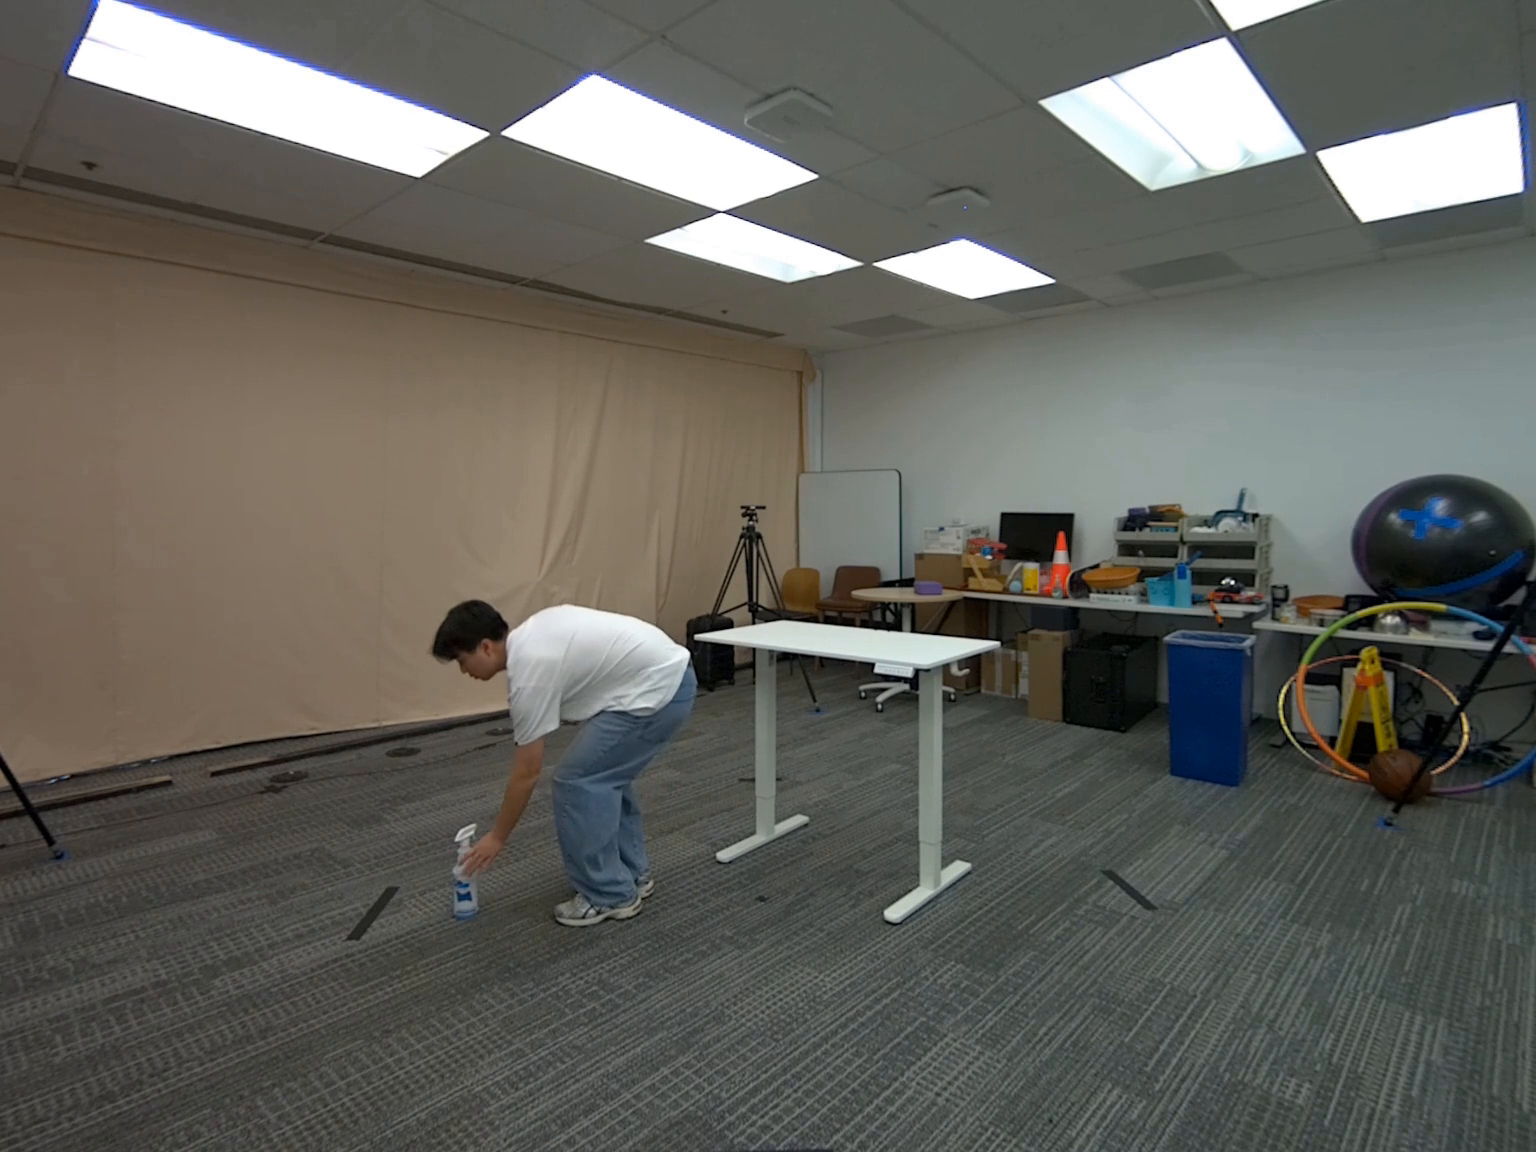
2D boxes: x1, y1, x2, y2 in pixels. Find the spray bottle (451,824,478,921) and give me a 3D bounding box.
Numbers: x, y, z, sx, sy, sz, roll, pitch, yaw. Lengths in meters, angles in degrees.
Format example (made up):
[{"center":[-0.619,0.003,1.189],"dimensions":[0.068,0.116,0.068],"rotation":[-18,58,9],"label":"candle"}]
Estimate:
[{"center":[-1.042,1.024,2.886],"dimensions":[0.087,0.297,0.090],"rotation":[0,1,-38],"label":"spray bottle"}]
